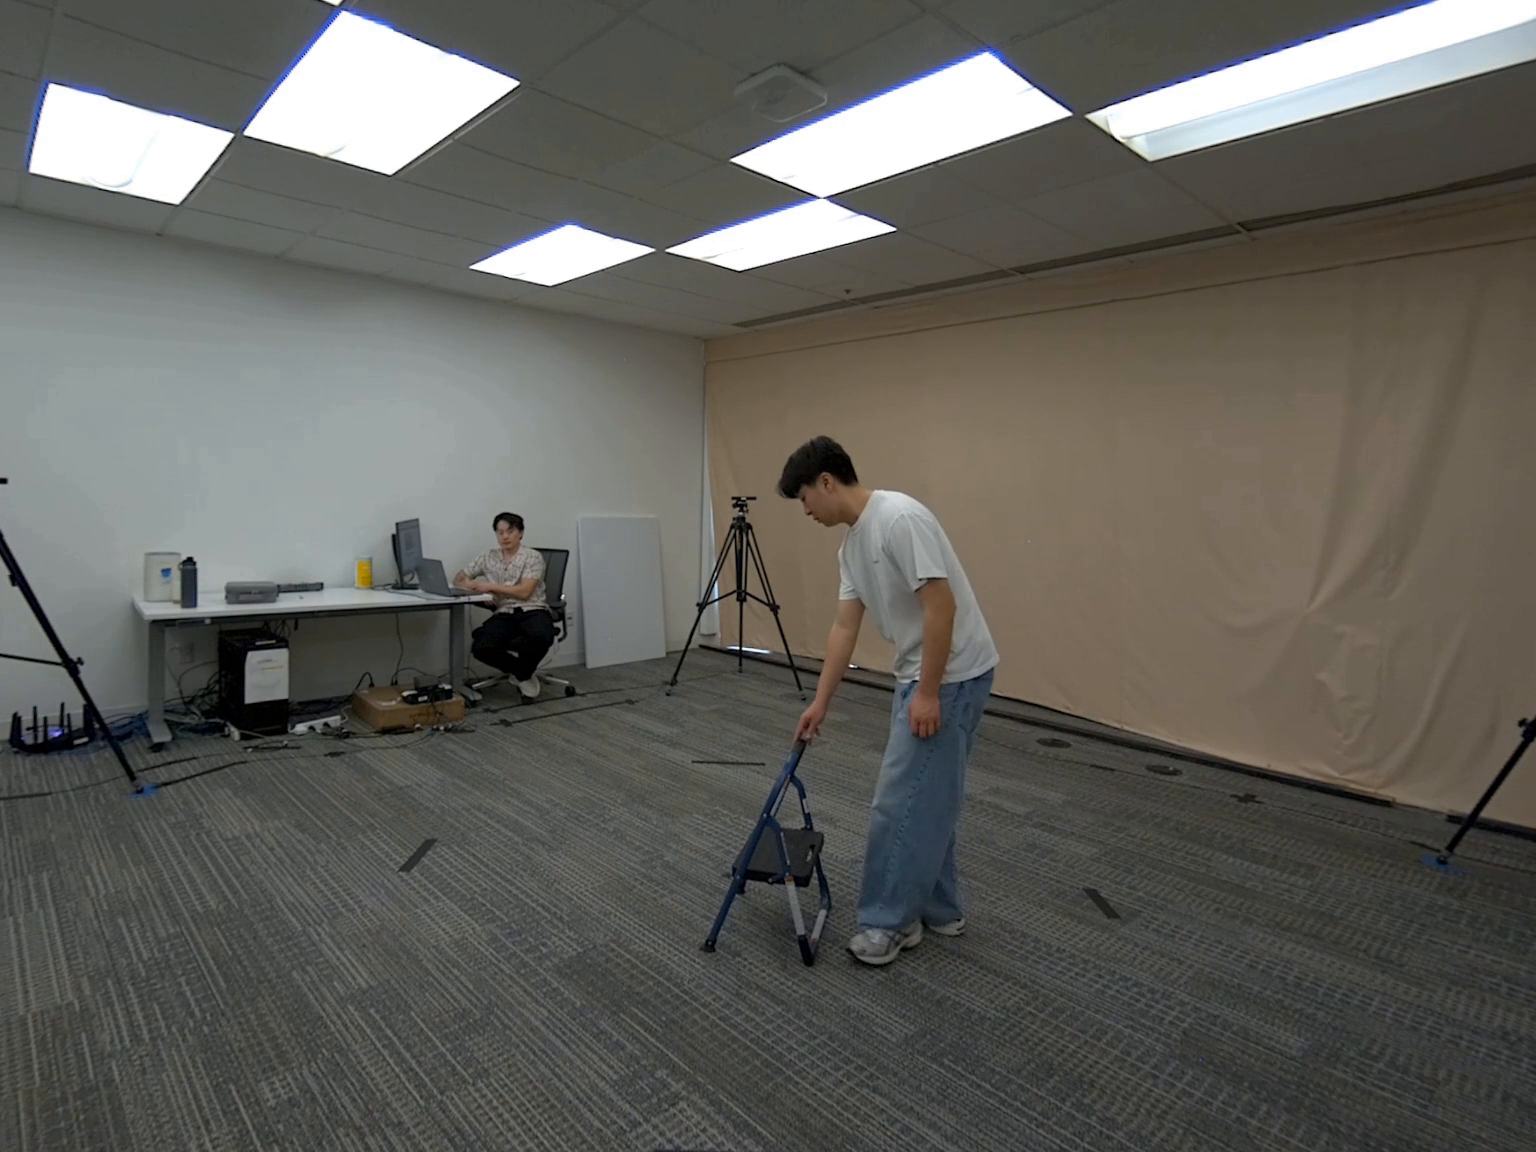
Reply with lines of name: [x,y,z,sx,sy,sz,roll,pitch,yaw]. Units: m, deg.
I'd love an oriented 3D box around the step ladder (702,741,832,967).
step ladder: [0.014,0.841,2.723,0.353,0.604,0.427,3,4,13]
